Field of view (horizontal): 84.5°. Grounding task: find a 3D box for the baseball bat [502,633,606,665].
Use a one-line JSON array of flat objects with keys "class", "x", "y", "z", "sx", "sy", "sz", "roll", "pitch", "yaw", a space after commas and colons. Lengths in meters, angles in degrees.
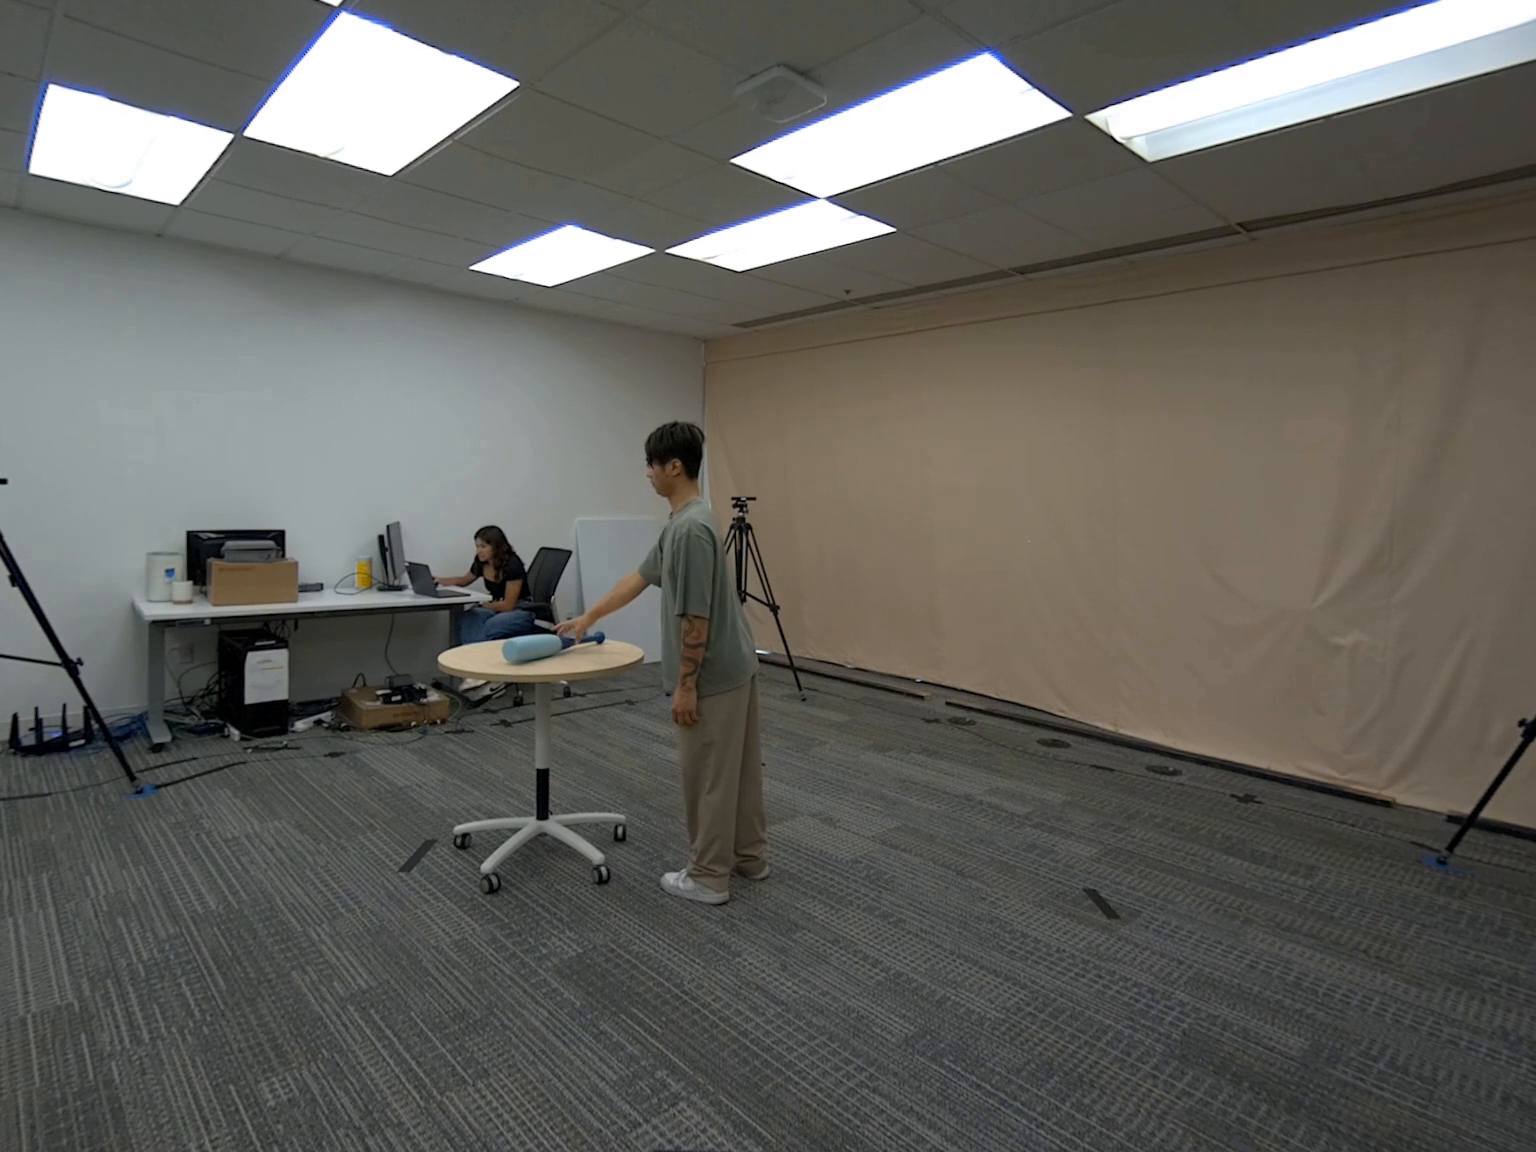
[{"class": "baseball bat", "x": -0.805, "y": 0.261, "z": 3.224, "sx": 0.091, "sy": 0.089, "sz": 0.533, "roll": 3, "pitch": 2, "yaw": 25}]
